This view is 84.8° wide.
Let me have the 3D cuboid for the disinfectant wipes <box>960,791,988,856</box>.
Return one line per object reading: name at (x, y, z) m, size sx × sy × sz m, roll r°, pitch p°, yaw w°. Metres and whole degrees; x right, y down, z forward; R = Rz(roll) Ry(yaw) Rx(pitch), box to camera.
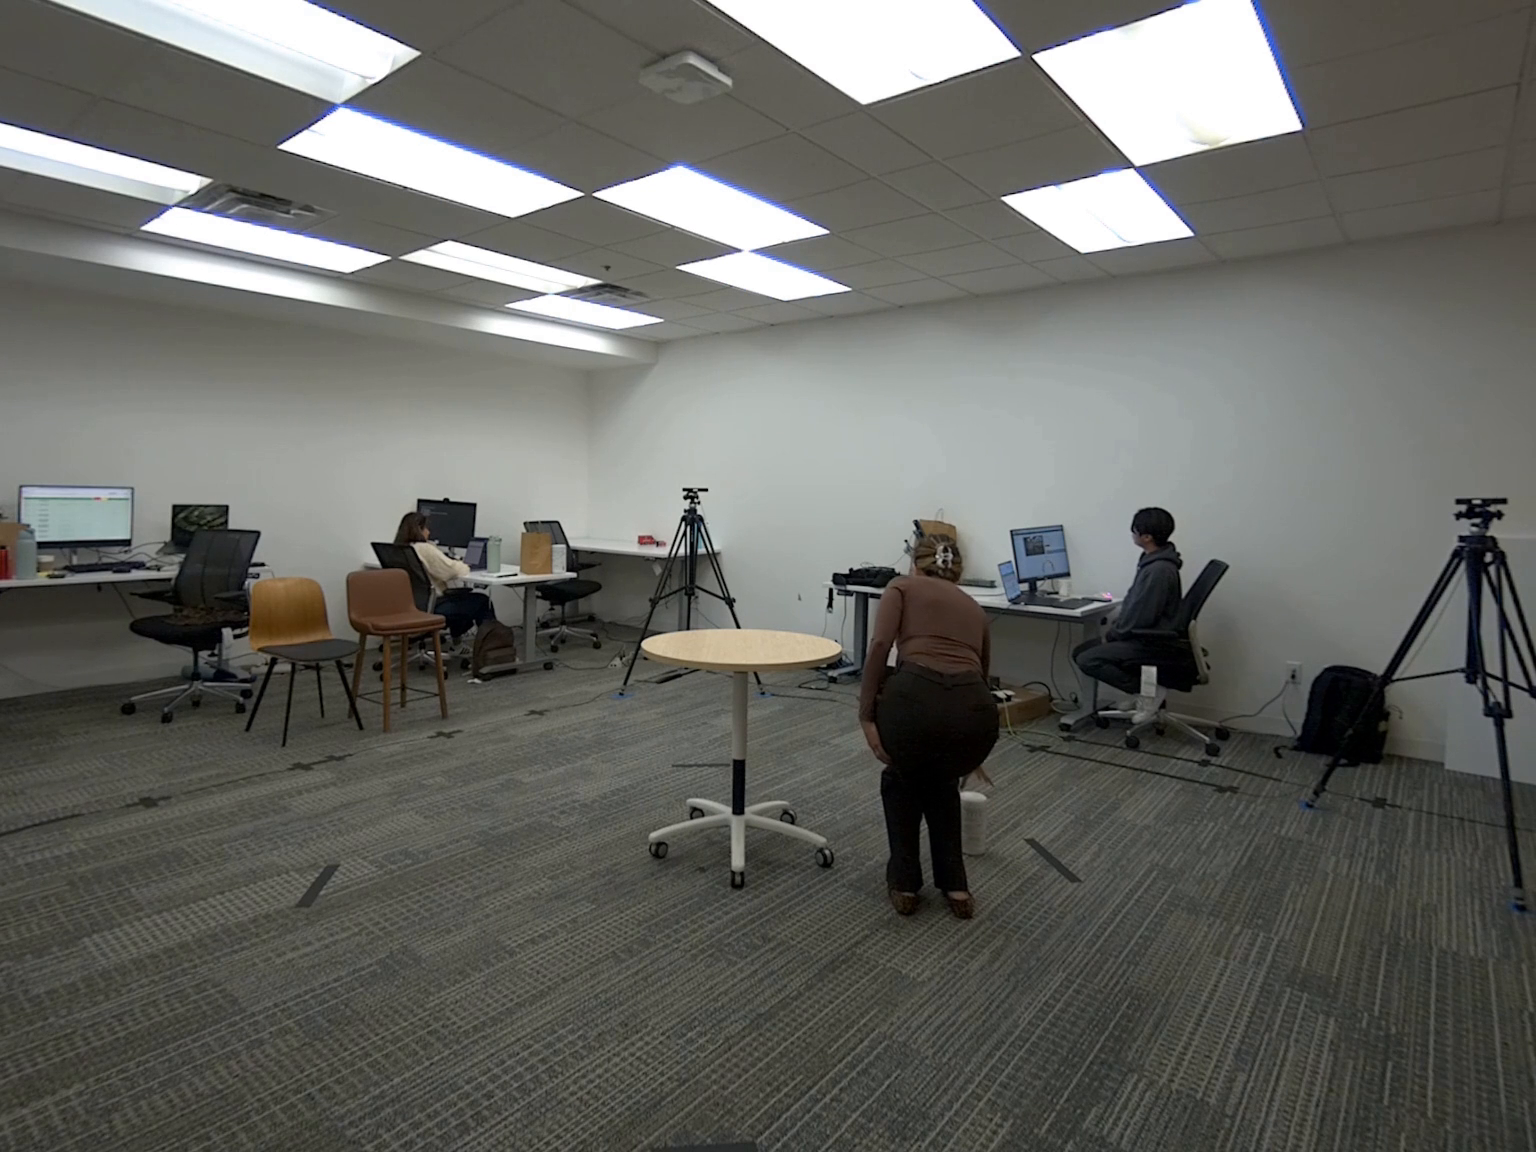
disinfectant wipes at (0.800, 0.966, 3.336) m, size 0.118 × 0.217 × 0.118 m, roll 0°, pitch 3°, yaw -2°
